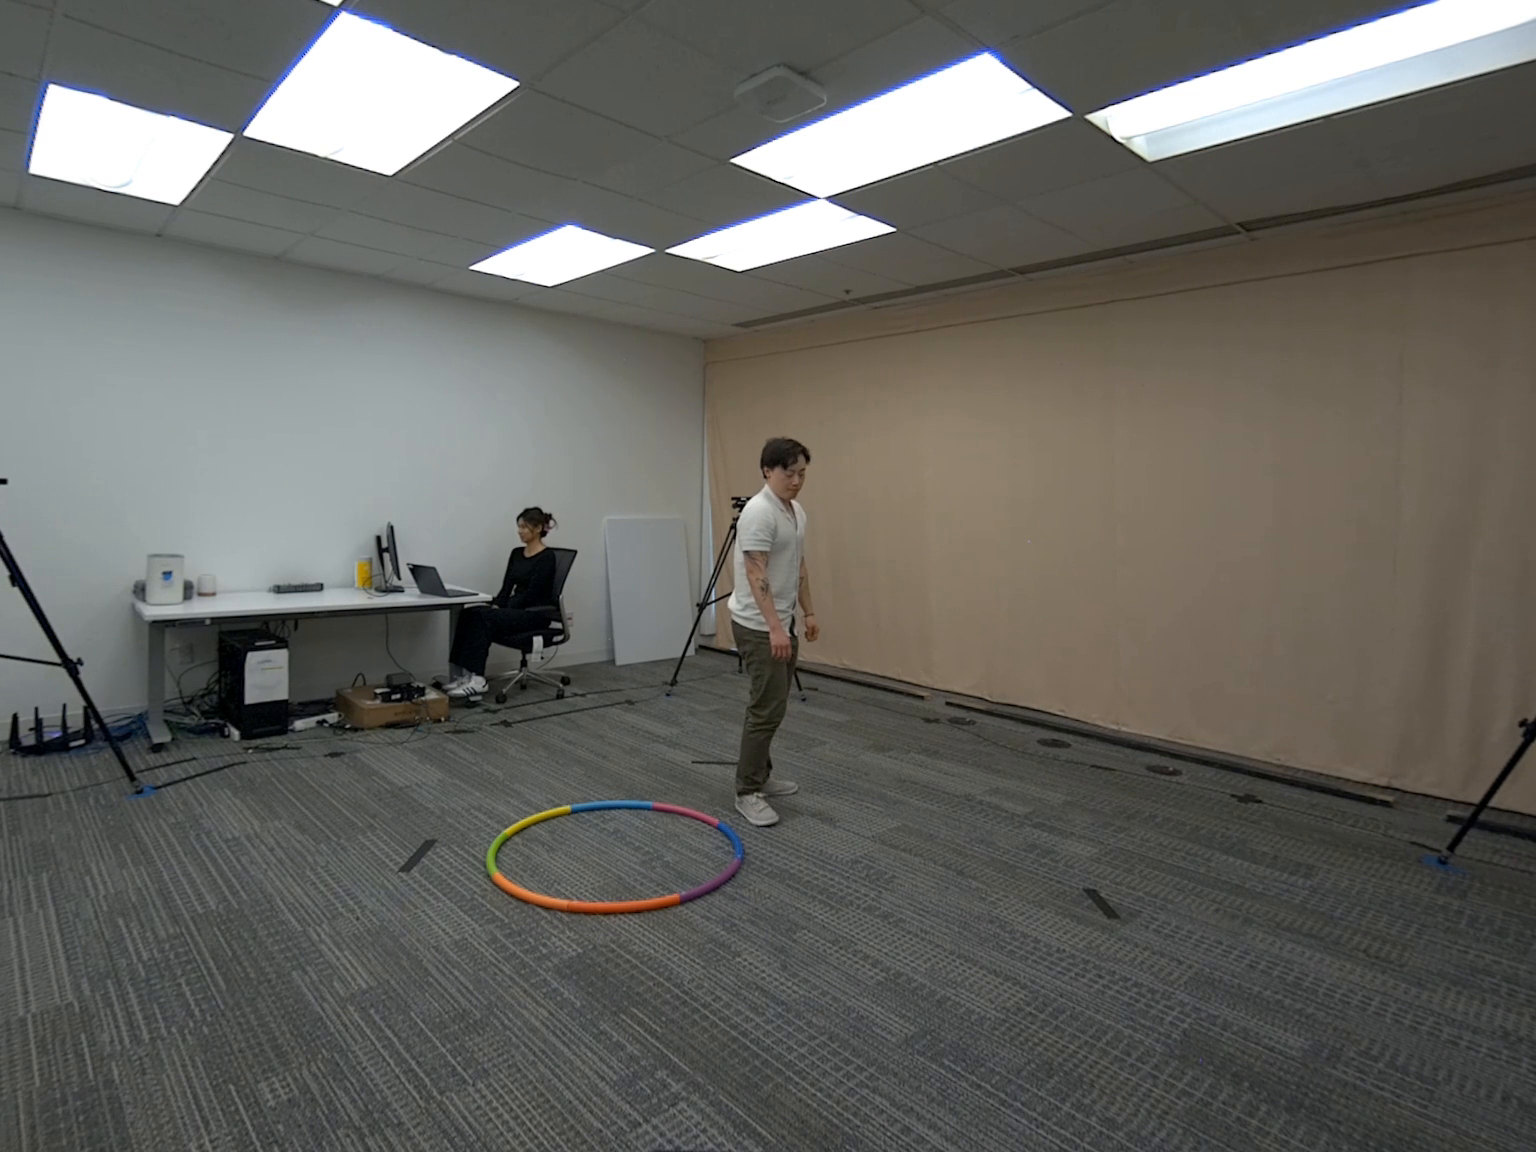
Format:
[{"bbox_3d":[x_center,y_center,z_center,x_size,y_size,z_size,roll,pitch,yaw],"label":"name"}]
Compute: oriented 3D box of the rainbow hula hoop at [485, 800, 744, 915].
[{"bbox_3d":[-0.591,1.052,3.275,0.978,0.035,0.982,2,5,-1],"label":"rainbow hula hoop"}]
